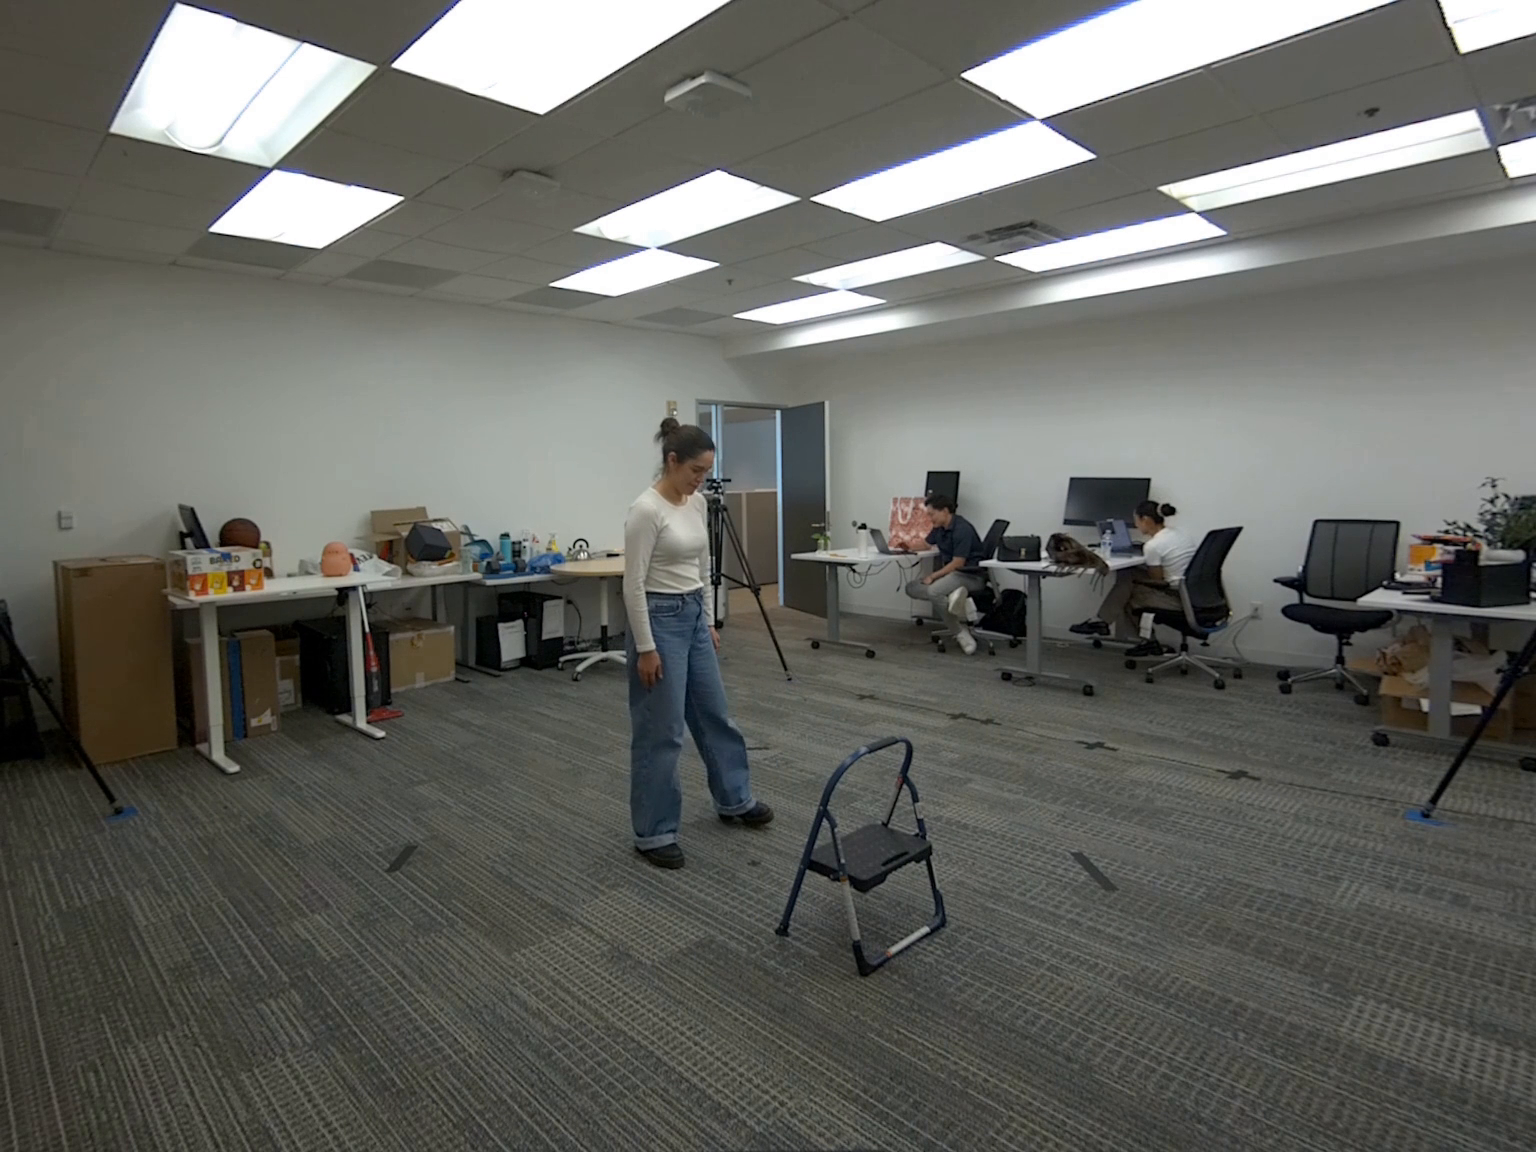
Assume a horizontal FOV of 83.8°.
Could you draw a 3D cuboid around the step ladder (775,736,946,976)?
[{"bbox_3d":[0.289,0.791,2.627,0.360,0.604,0.419,3,6,45],"label":"step ladder"}]
